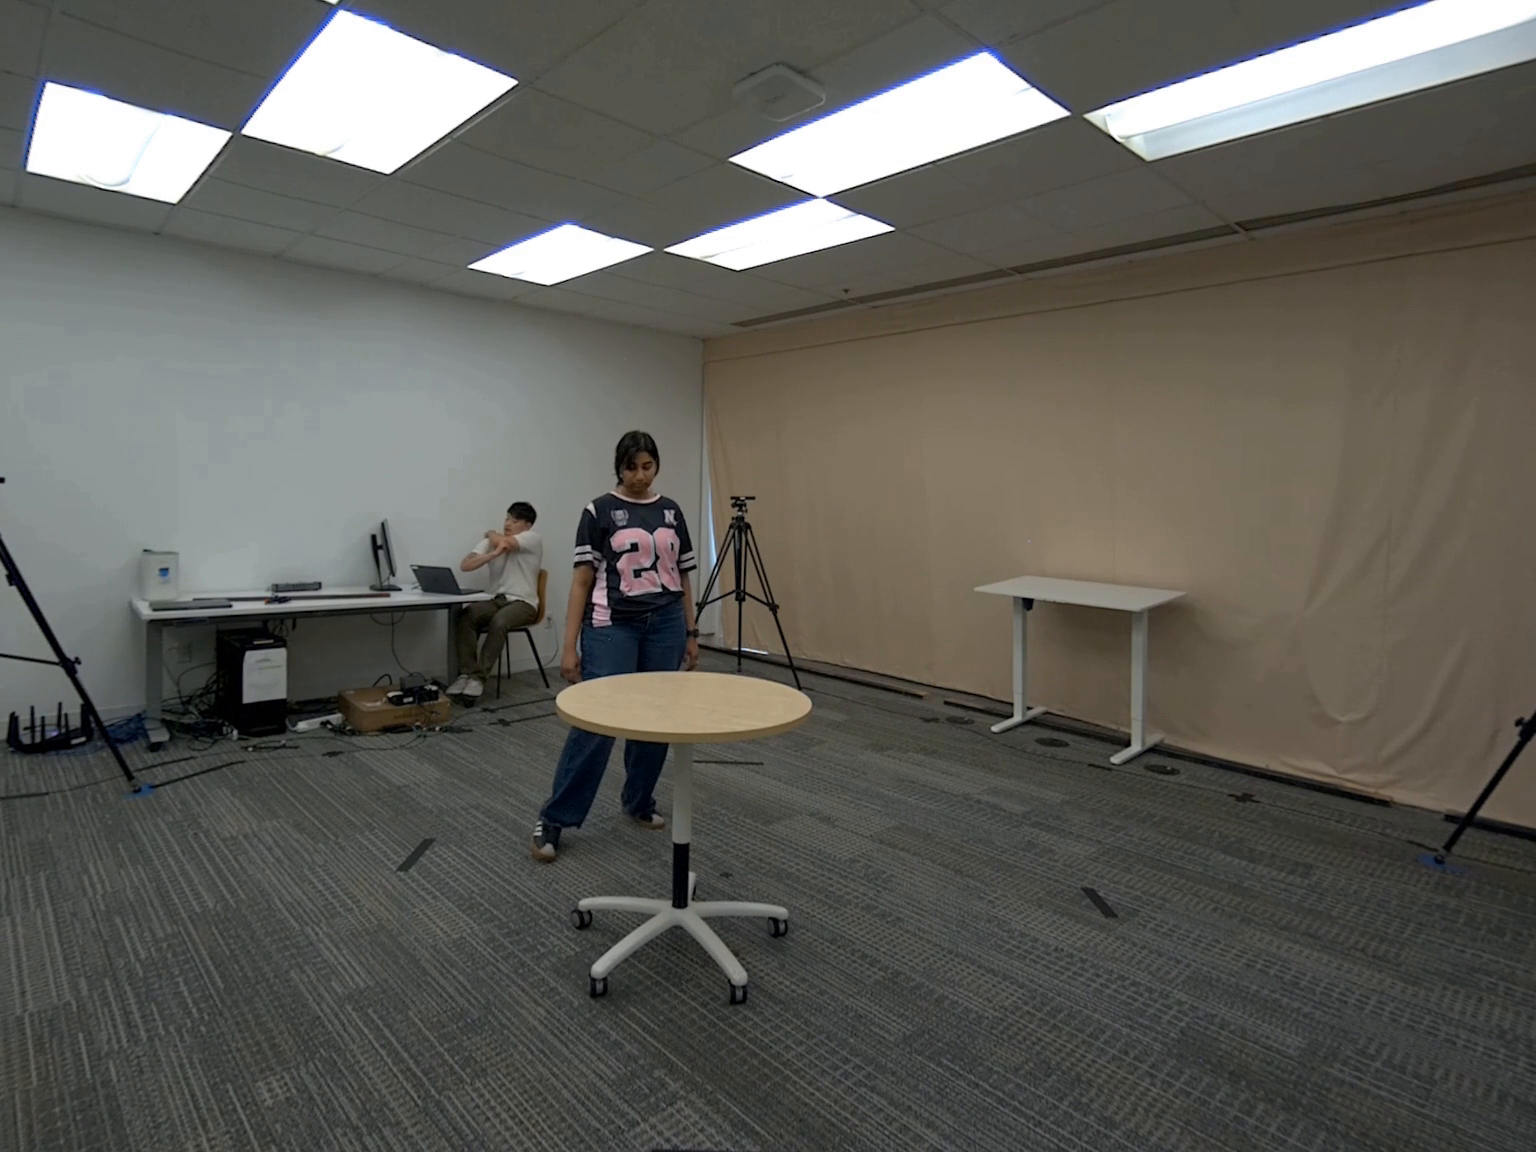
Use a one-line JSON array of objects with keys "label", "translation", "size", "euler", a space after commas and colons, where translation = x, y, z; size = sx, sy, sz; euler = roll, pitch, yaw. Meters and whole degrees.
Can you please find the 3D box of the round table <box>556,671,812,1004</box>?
[{"label": "round table", "translation": [-0.272, 0.762, 2.568], "size": [0.763, 0.792, 0.767], "euler": [2, 4, -1]}]
